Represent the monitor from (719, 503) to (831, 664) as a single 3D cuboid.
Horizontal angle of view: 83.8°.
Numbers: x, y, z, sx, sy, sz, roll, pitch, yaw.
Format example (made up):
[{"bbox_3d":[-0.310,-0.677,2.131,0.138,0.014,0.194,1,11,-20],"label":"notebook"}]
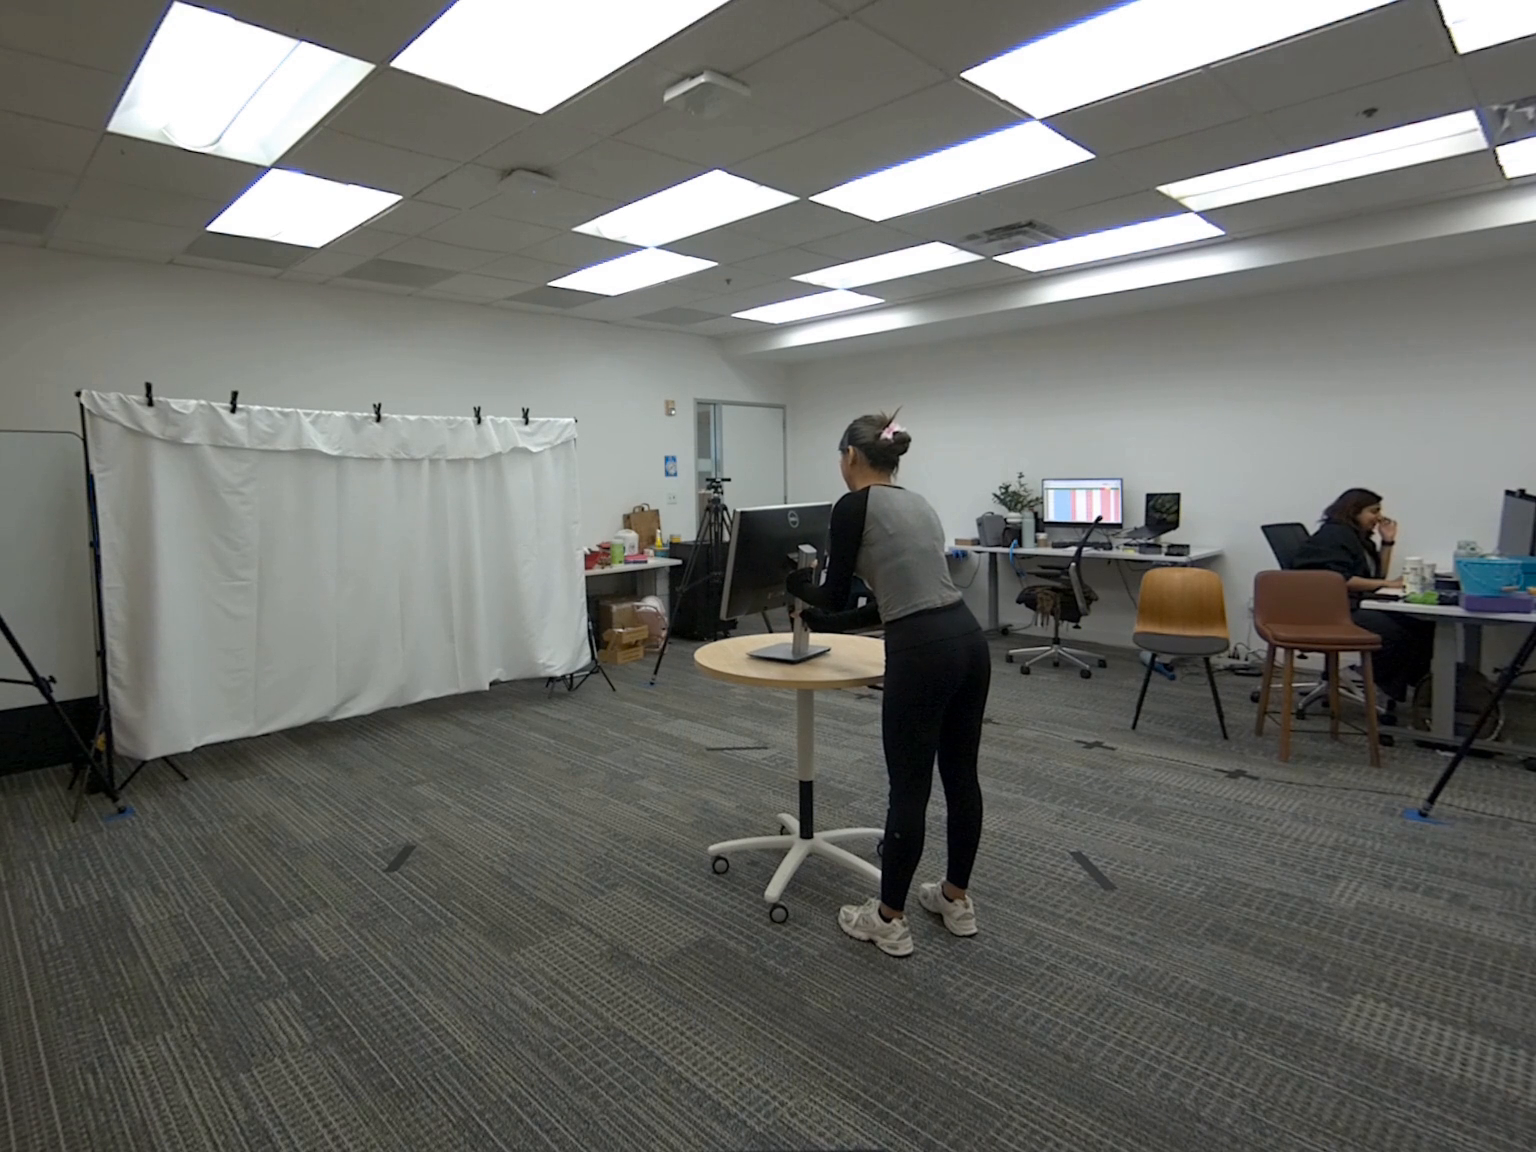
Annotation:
[{"bbox_3d":[0.070,0.019,2.906,0.179,0.516,0.517,-8,1,37],"label":"monitor"}]
